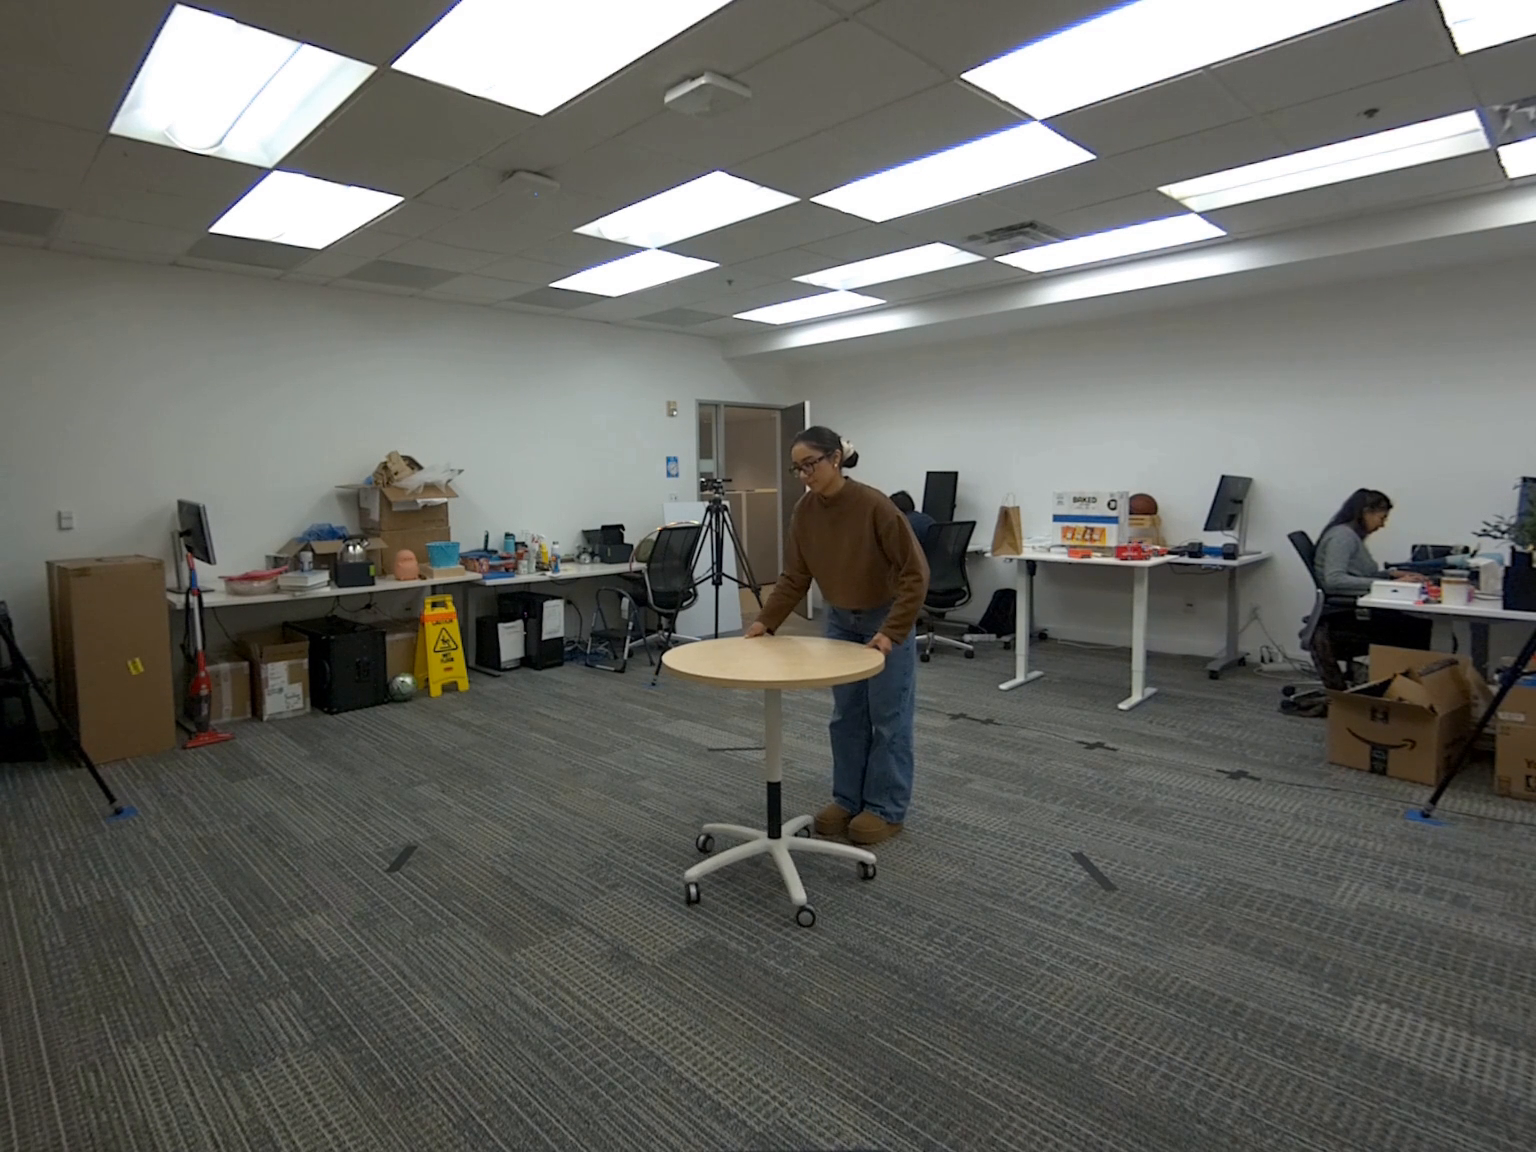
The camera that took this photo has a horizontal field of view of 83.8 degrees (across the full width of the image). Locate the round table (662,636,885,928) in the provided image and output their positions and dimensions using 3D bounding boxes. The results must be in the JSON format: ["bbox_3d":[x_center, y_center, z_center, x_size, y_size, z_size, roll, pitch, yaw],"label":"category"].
[{"bbox_3d":[0.021,0.669,2.975,0.763,0.791,0.768,-1,5,-2],"label":"round table"}]
